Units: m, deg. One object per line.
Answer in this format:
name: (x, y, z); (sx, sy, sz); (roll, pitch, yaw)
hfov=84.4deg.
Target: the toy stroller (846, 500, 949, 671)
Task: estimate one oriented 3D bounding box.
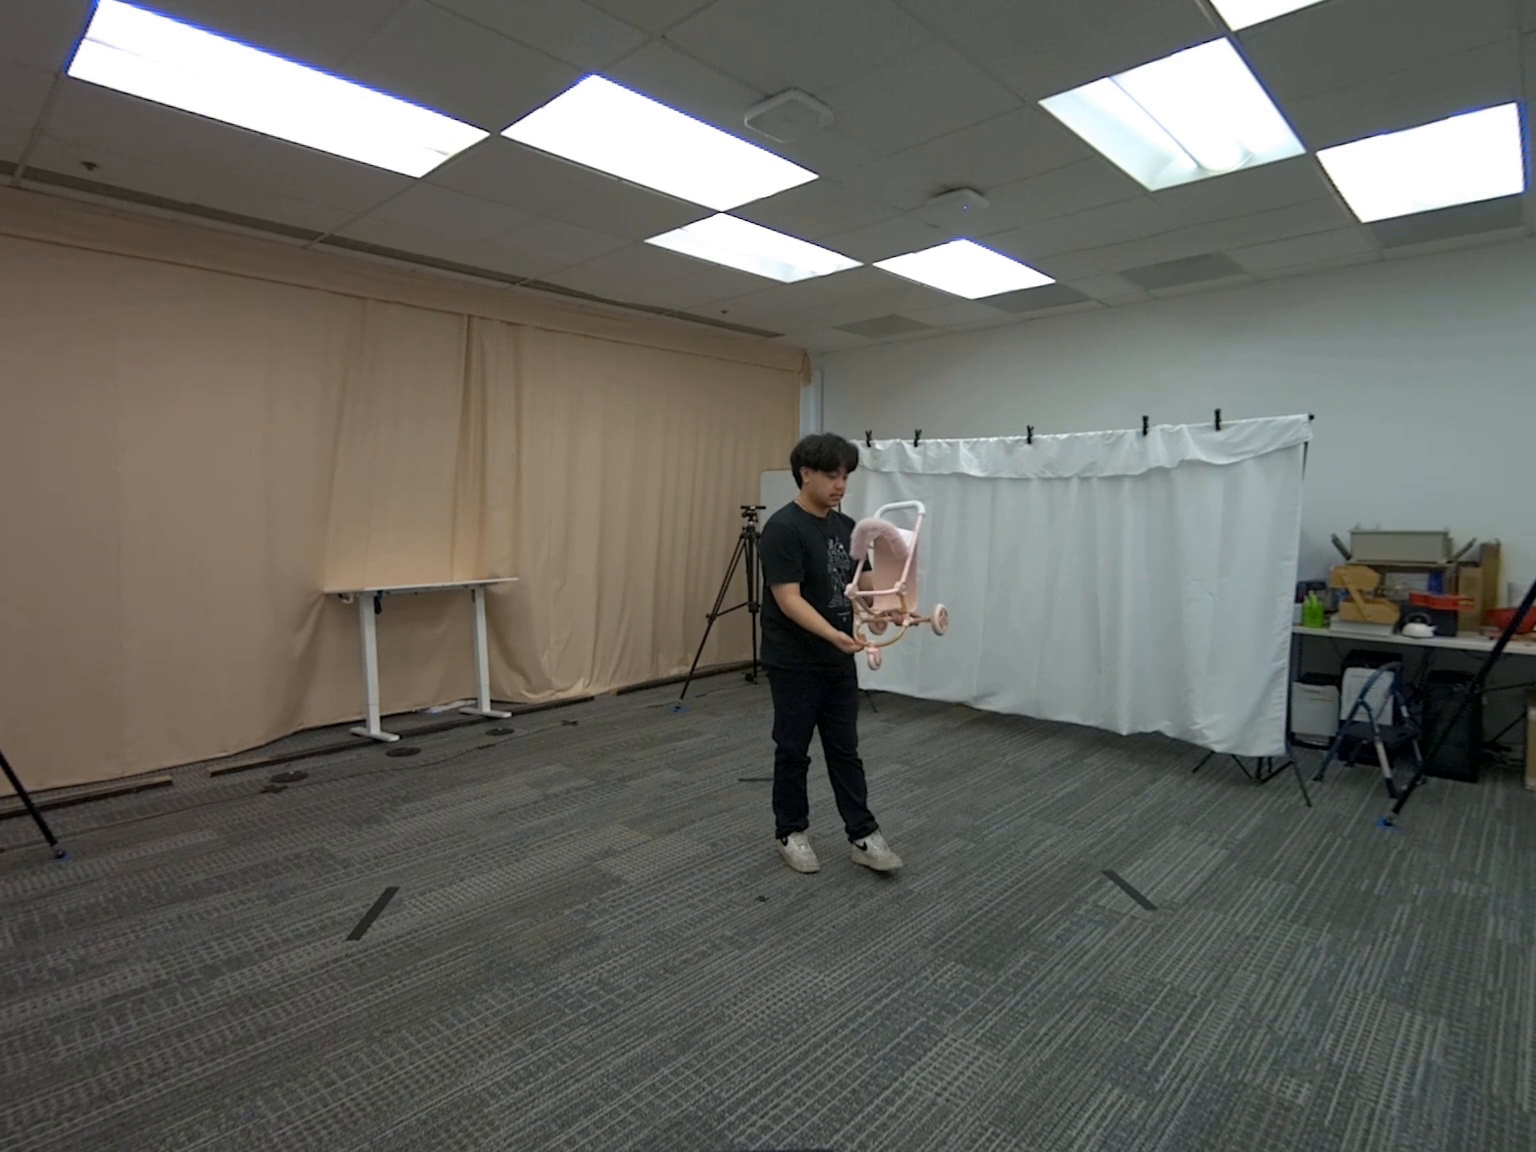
toy stroller: (0.407, 0.026, 2.902); (0.290, 0.533, 0.332); (-3, 7, 44)
